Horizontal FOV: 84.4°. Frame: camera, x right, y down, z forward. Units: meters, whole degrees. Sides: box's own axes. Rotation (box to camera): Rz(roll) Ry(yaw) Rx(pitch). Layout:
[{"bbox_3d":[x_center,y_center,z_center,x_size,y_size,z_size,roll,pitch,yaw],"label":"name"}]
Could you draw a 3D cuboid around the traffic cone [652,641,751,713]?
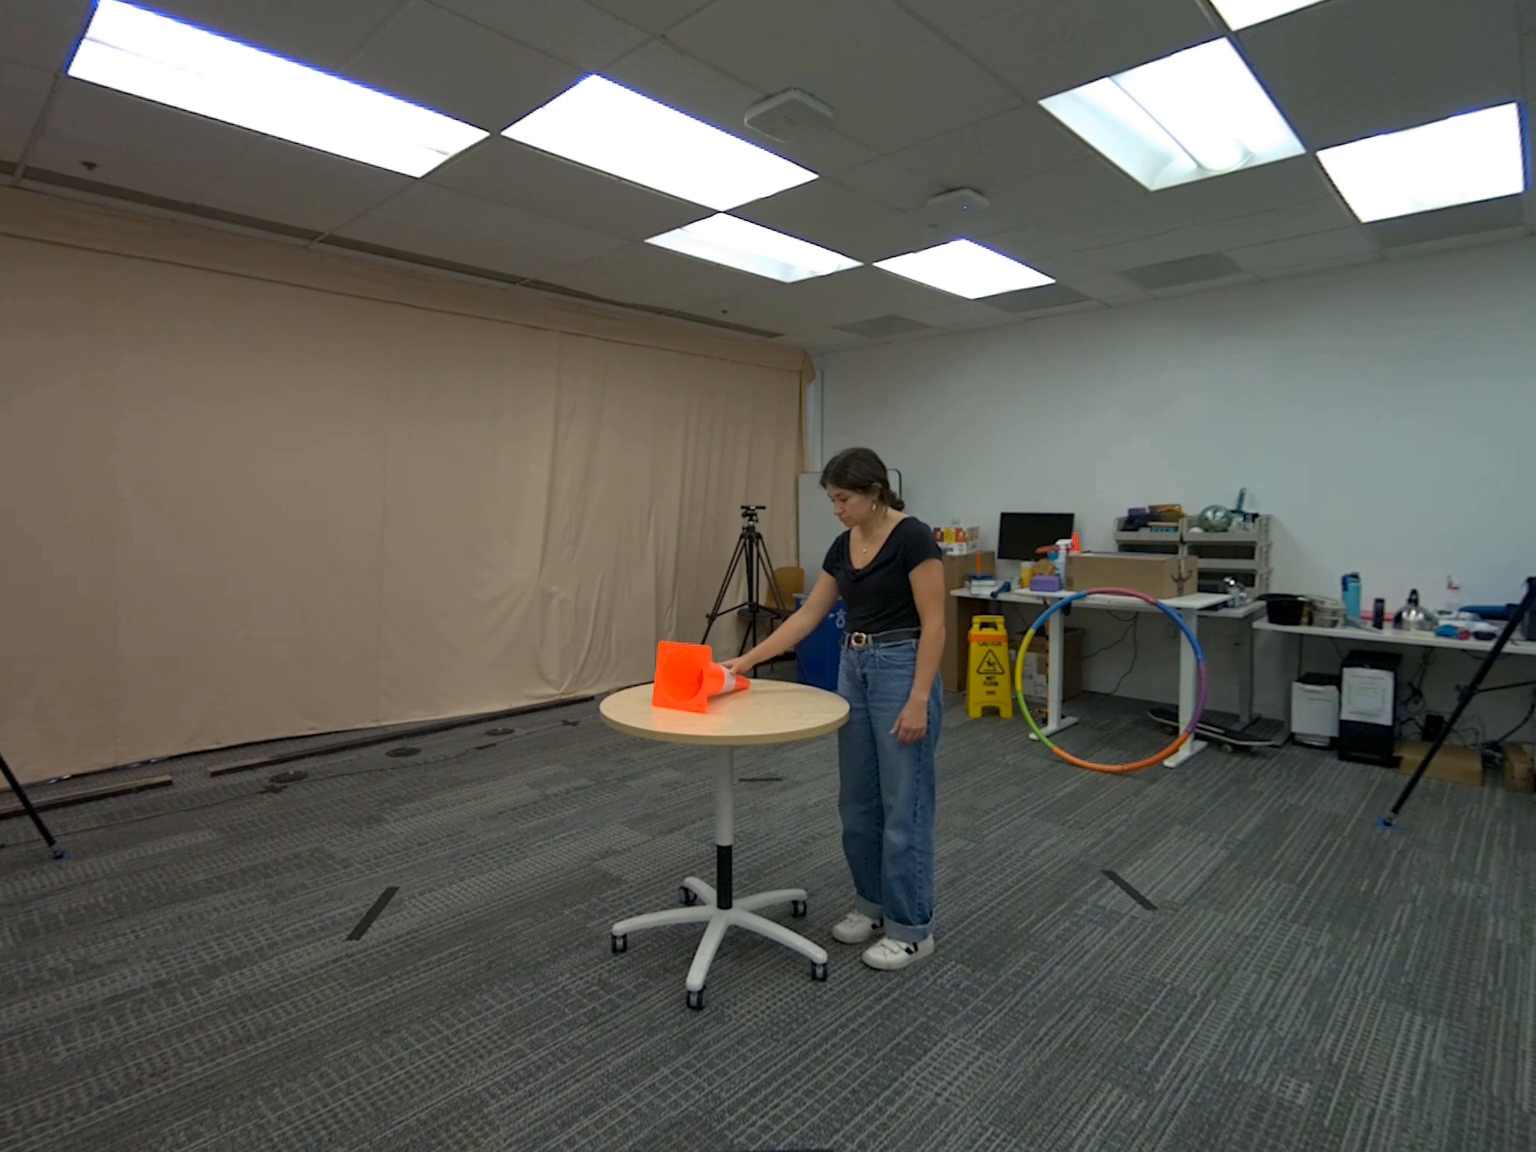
[{"bbox_3d":[-0.156,0.343,2.666,0.209,0.206,0.370,1,-10,34],"label":"traffic cone"}]
